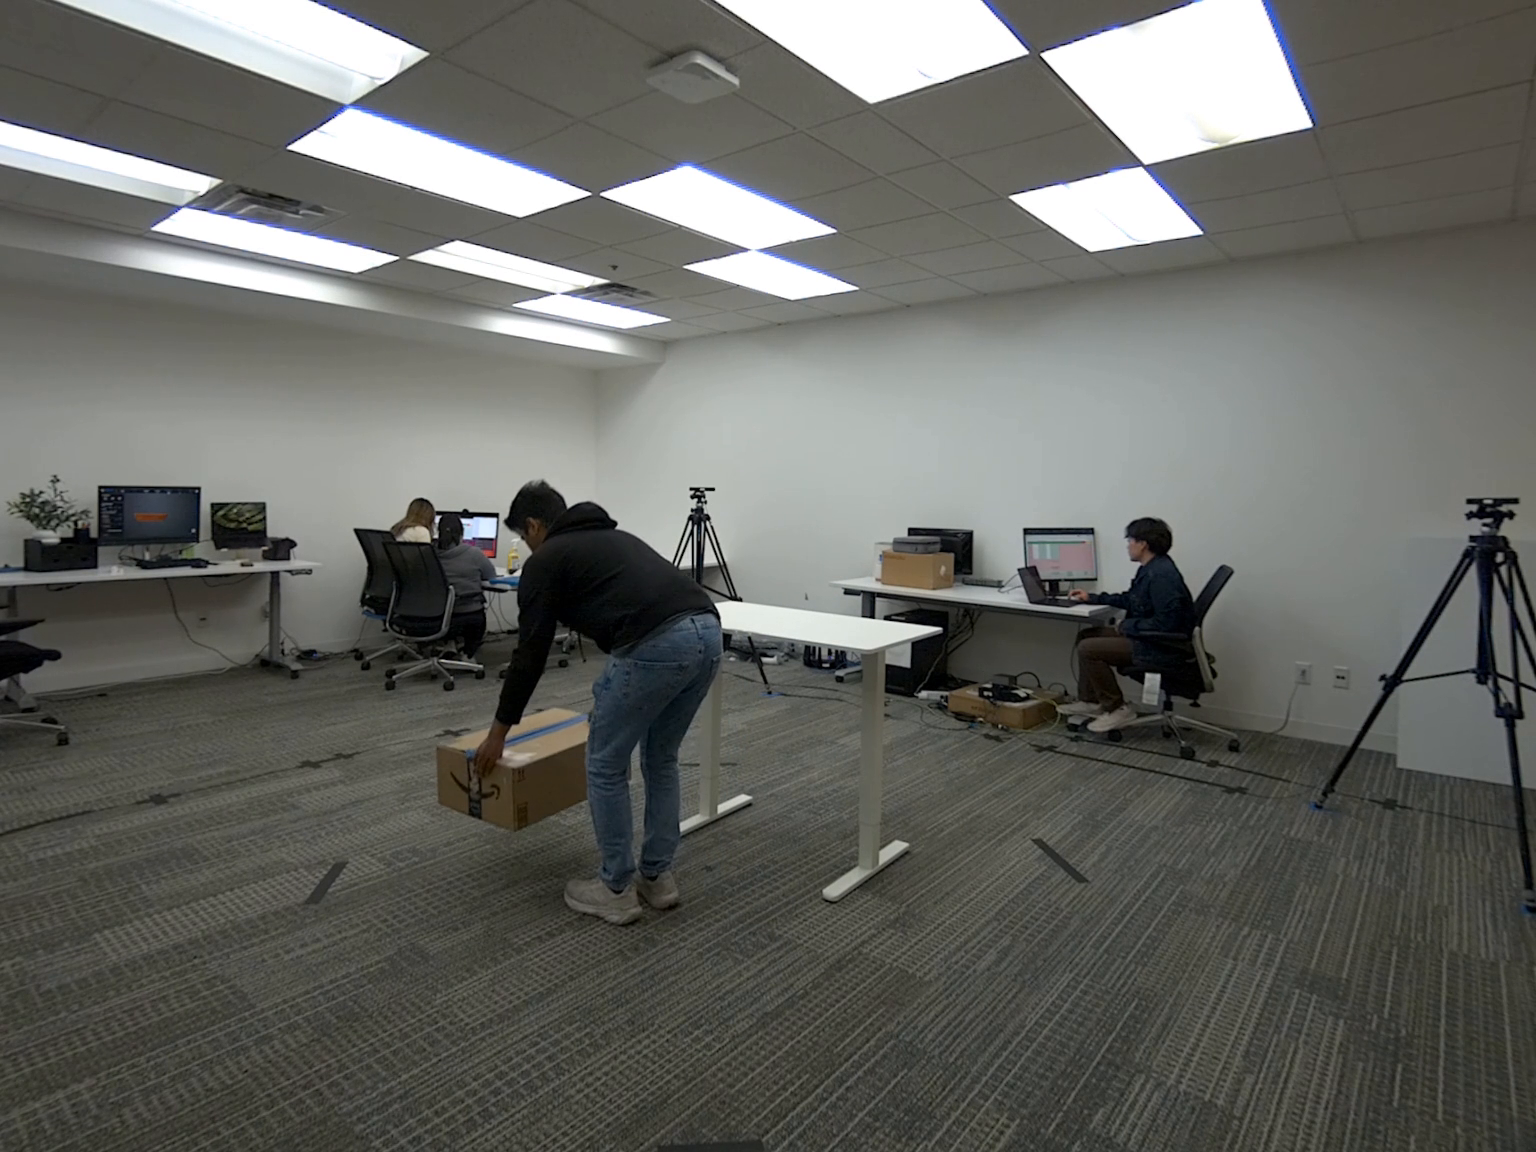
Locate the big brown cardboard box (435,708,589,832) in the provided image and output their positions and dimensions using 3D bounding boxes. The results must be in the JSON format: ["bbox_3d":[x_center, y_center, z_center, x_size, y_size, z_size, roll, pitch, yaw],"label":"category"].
[{"bbox_3d":[-0.854,0.673,3.085,0.431,0.232,0.573,3,7,34],"label":"big brown cardboard box"}]
